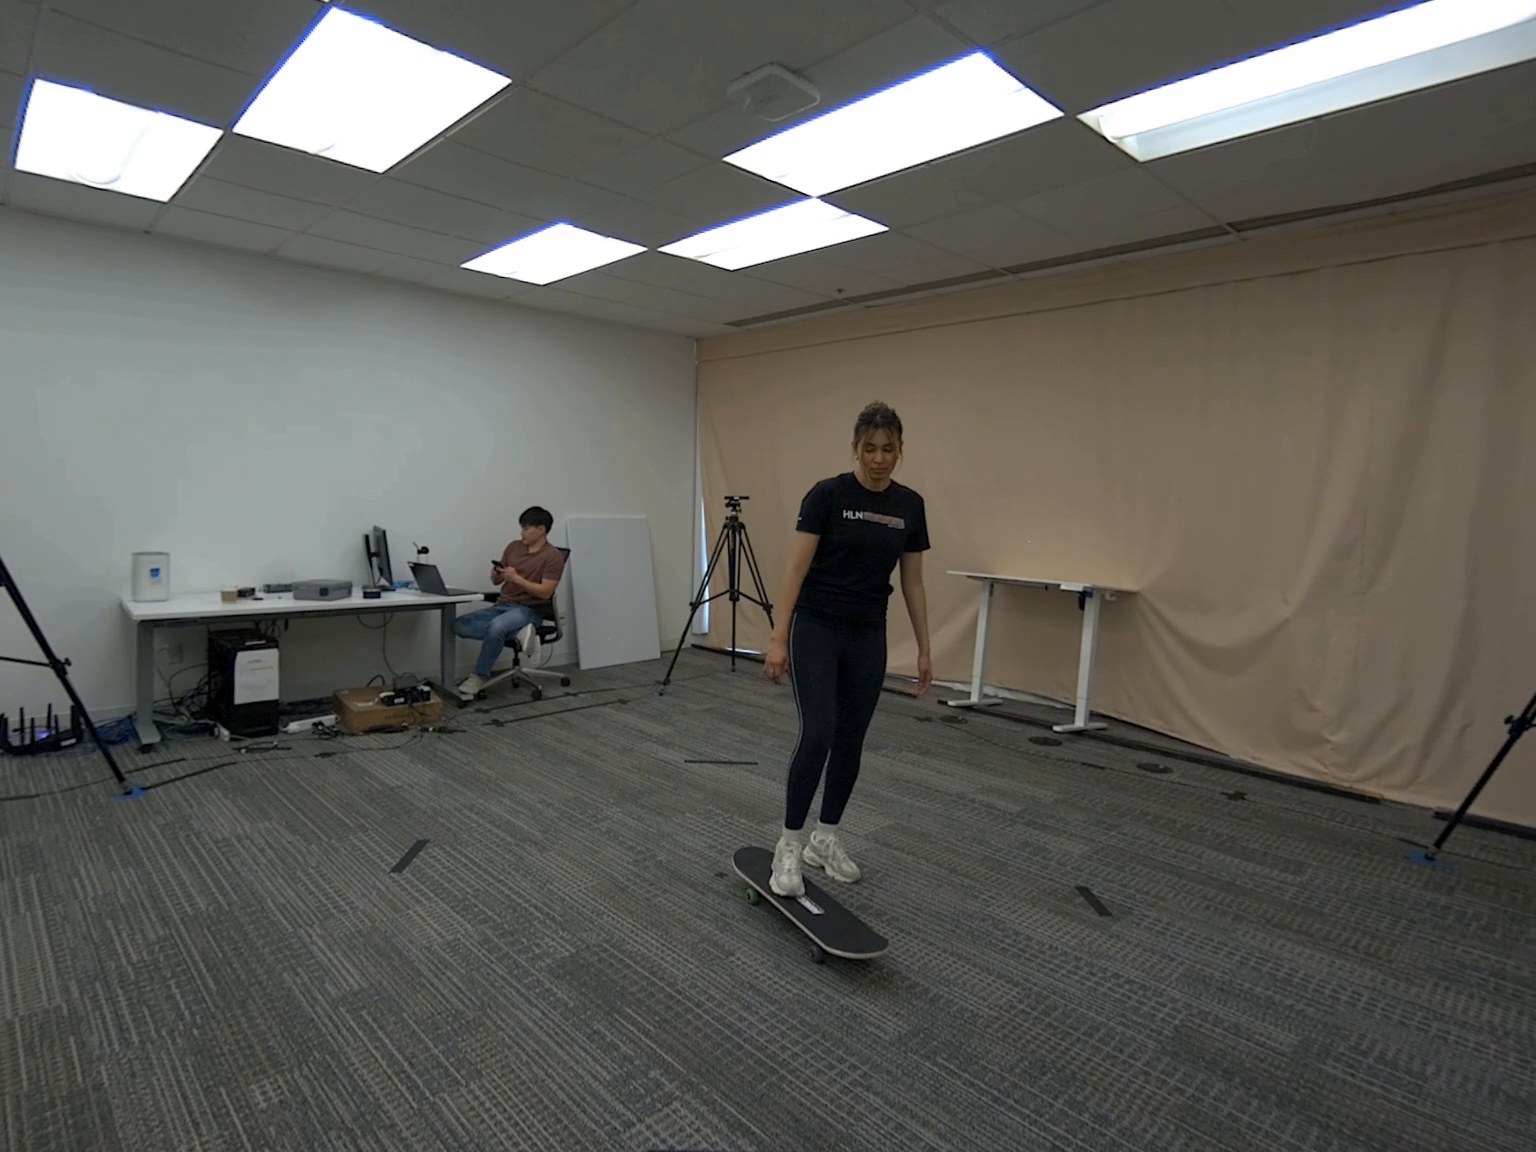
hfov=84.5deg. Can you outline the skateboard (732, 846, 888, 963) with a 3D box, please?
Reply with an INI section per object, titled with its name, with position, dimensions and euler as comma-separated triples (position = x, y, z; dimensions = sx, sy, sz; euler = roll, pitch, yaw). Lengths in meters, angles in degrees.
[skateboard]
position = 0.107, 1.089, 2.745
dimensions = 0.190, 0.110, 0.803
euler = -1, 6, -28
